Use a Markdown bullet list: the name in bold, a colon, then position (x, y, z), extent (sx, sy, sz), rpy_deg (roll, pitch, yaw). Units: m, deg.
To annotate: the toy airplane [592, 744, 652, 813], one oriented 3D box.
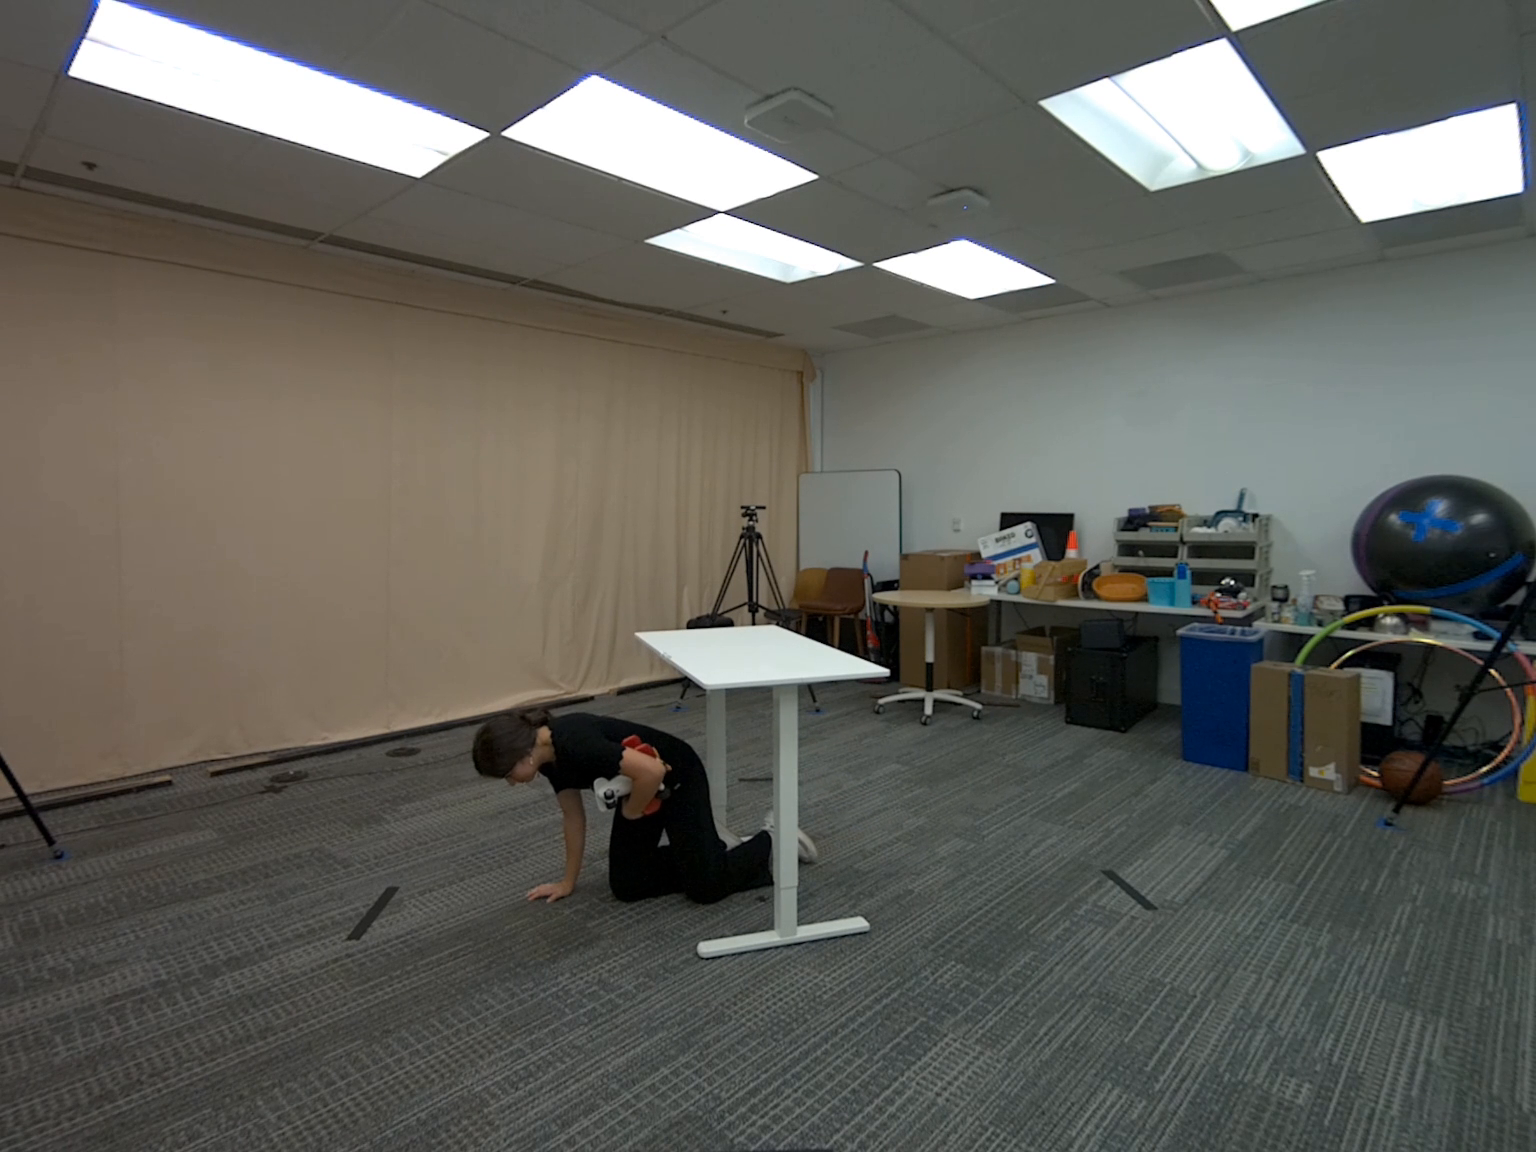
- **toy airplane**: position (-0.460, 0.661, 2.793), extent (0.252, 0.251, 0.161), rpy_deg (15, 6, -27)
